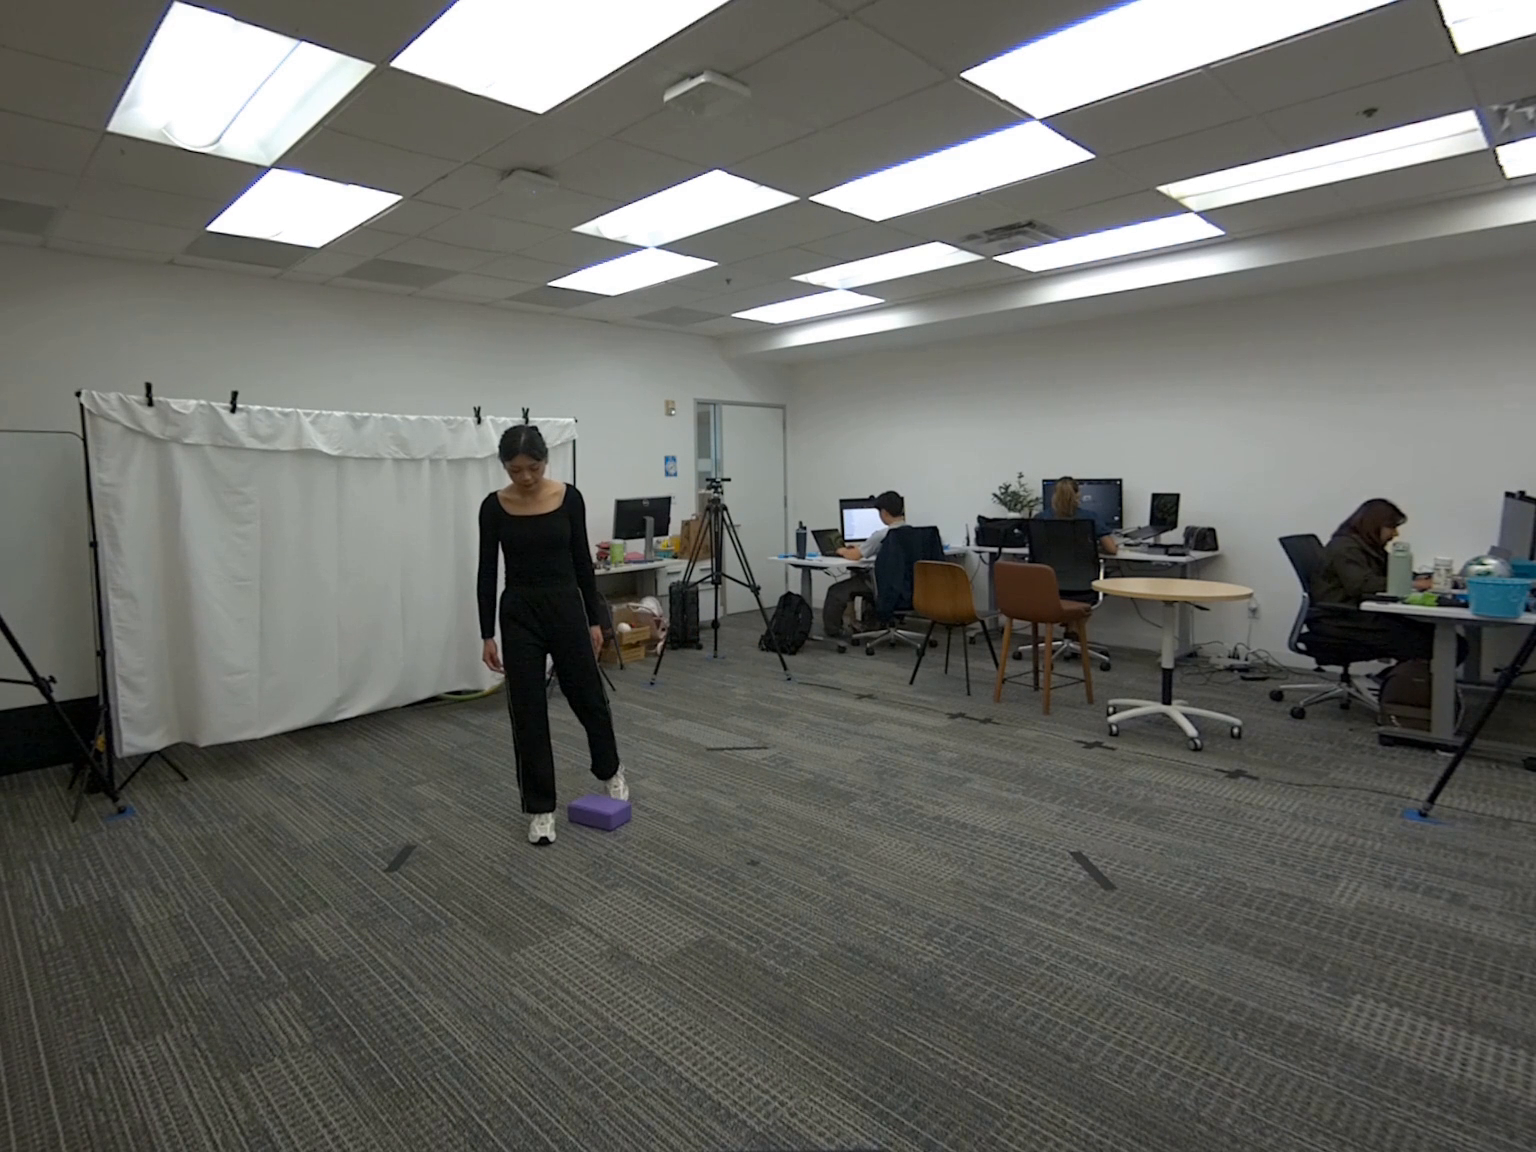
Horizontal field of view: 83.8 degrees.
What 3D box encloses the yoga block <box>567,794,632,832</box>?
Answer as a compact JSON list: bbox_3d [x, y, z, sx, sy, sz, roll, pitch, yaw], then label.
[{"bbox_3d":[-0.694,0.964,3.516,0.235,0.076,0.146,3,7,30],"label":"yoga block"}]
